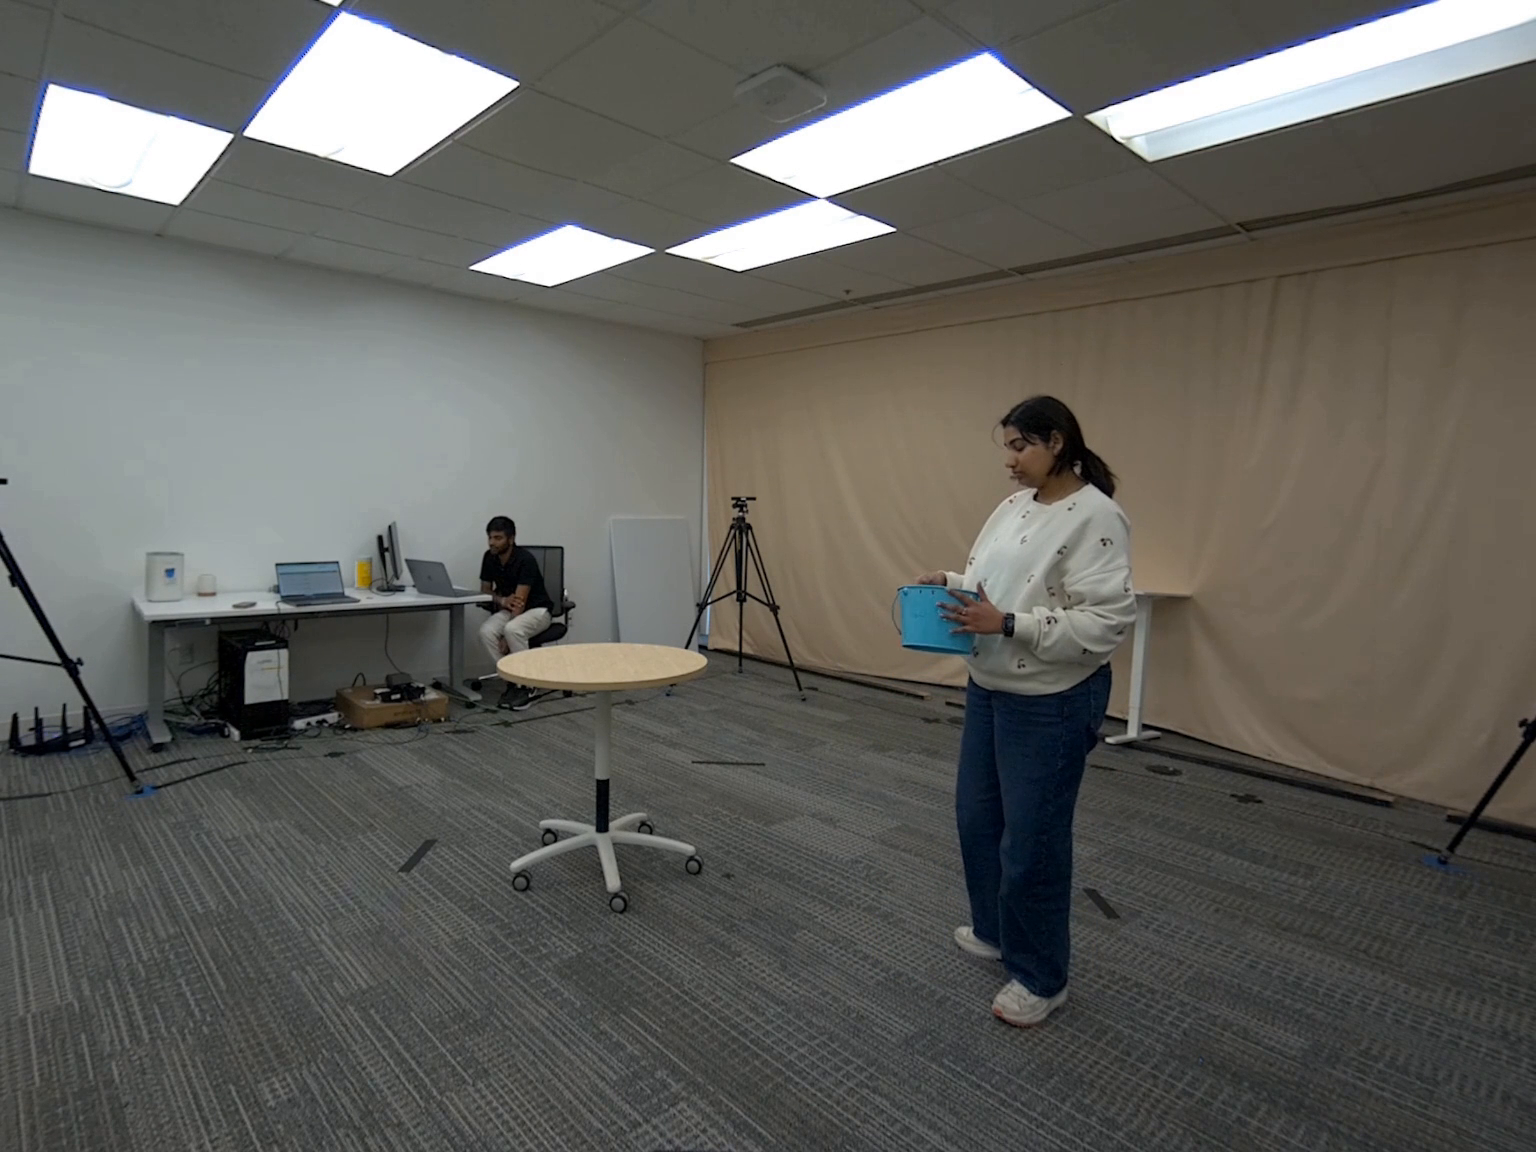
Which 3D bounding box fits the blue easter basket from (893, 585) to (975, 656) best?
[{"bbox_3d":[0.462,0.130,2.234,0.243,0.156,0.242,7,-6,-1],"label":"blue easter basket"}]
